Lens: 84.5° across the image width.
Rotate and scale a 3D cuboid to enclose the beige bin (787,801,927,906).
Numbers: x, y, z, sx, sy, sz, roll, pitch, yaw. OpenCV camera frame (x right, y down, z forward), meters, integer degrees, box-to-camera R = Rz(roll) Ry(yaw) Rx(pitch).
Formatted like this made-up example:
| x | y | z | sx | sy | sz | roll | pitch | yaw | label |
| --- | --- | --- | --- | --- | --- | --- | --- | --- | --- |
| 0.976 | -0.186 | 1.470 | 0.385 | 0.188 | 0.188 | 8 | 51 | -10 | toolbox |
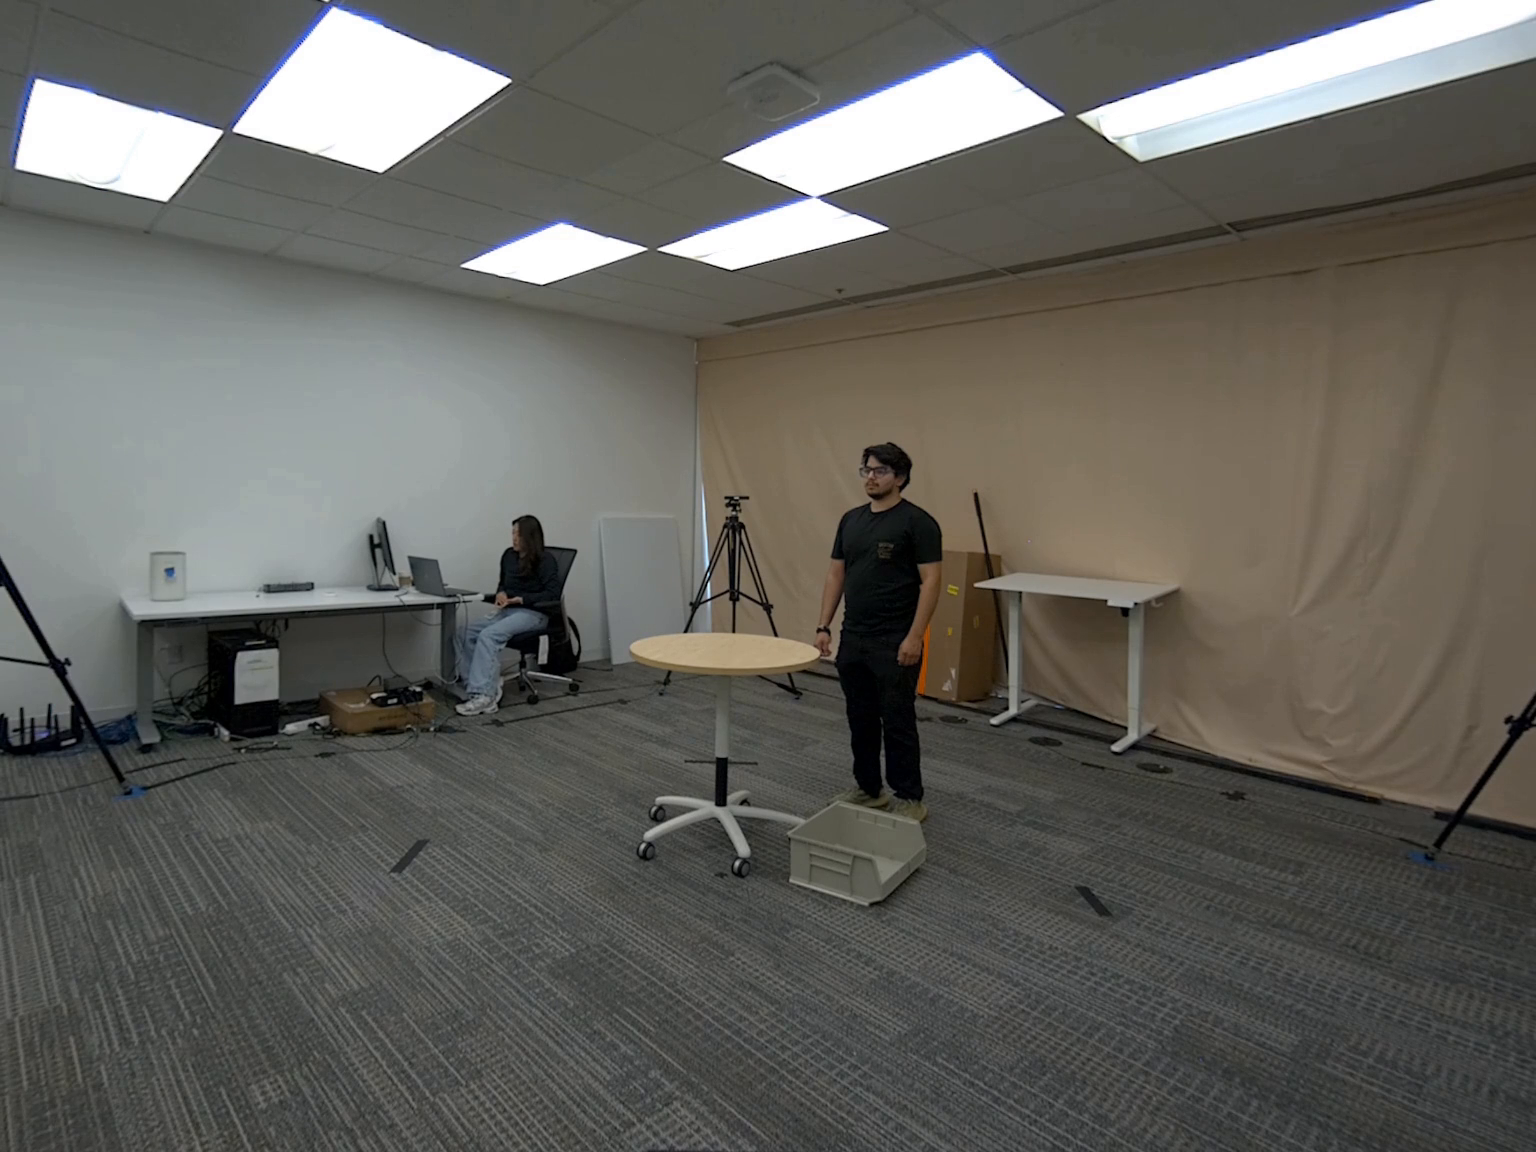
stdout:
| x | y | z | sx | sy | sz | roll | pitch | yaw | label |
| --- | --- | --- | --- | --- | --- | --- | --- | --- | --- |
| 0.327 | 1.027 | 3.129 | 0.386 | 0.188 | 0.414 | 4 | 5 | 32 | beige bin |
